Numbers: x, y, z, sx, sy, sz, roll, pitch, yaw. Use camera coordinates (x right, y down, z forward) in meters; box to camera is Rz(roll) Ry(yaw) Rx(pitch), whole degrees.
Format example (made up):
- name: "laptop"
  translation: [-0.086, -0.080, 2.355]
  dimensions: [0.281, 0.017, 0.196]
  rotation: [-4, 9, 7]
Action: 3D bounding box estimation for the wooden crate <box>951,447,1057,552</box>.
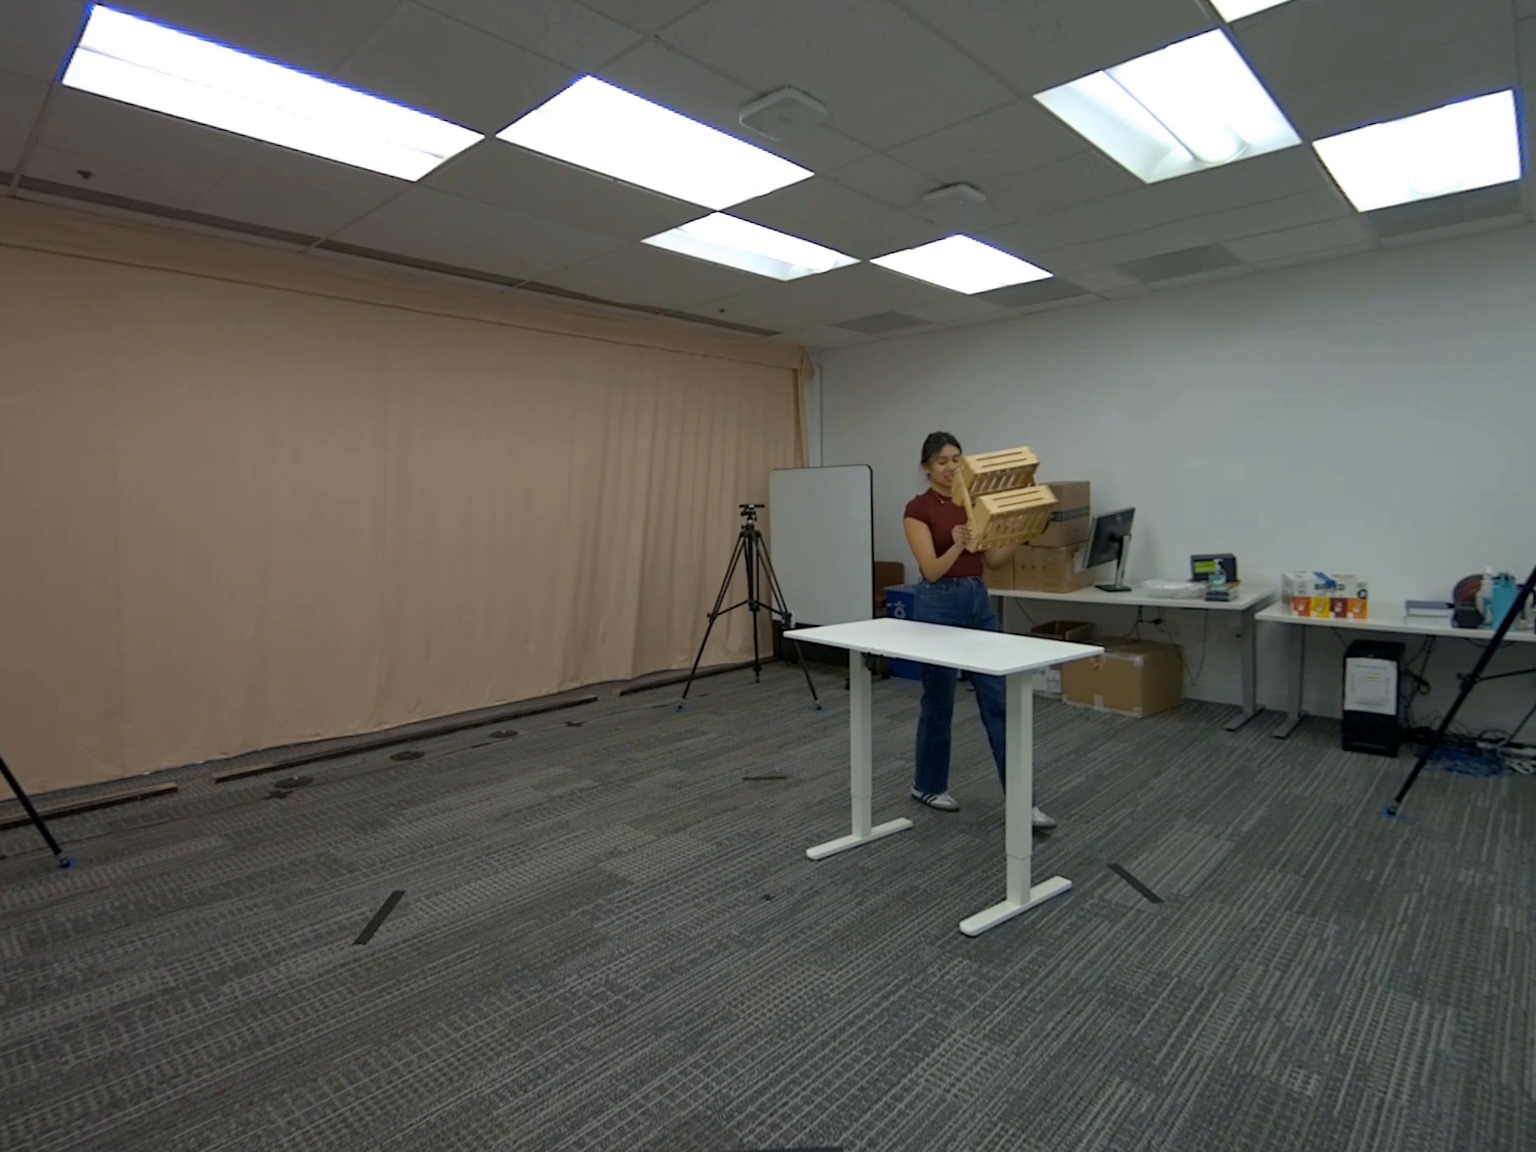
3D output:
- name: "wooden crate"
  translation: [0.927, -0.302, 3.377]
  dimensions: [0.320, 0.281, 0.298]
  rotation: [-10, -37, -16]
